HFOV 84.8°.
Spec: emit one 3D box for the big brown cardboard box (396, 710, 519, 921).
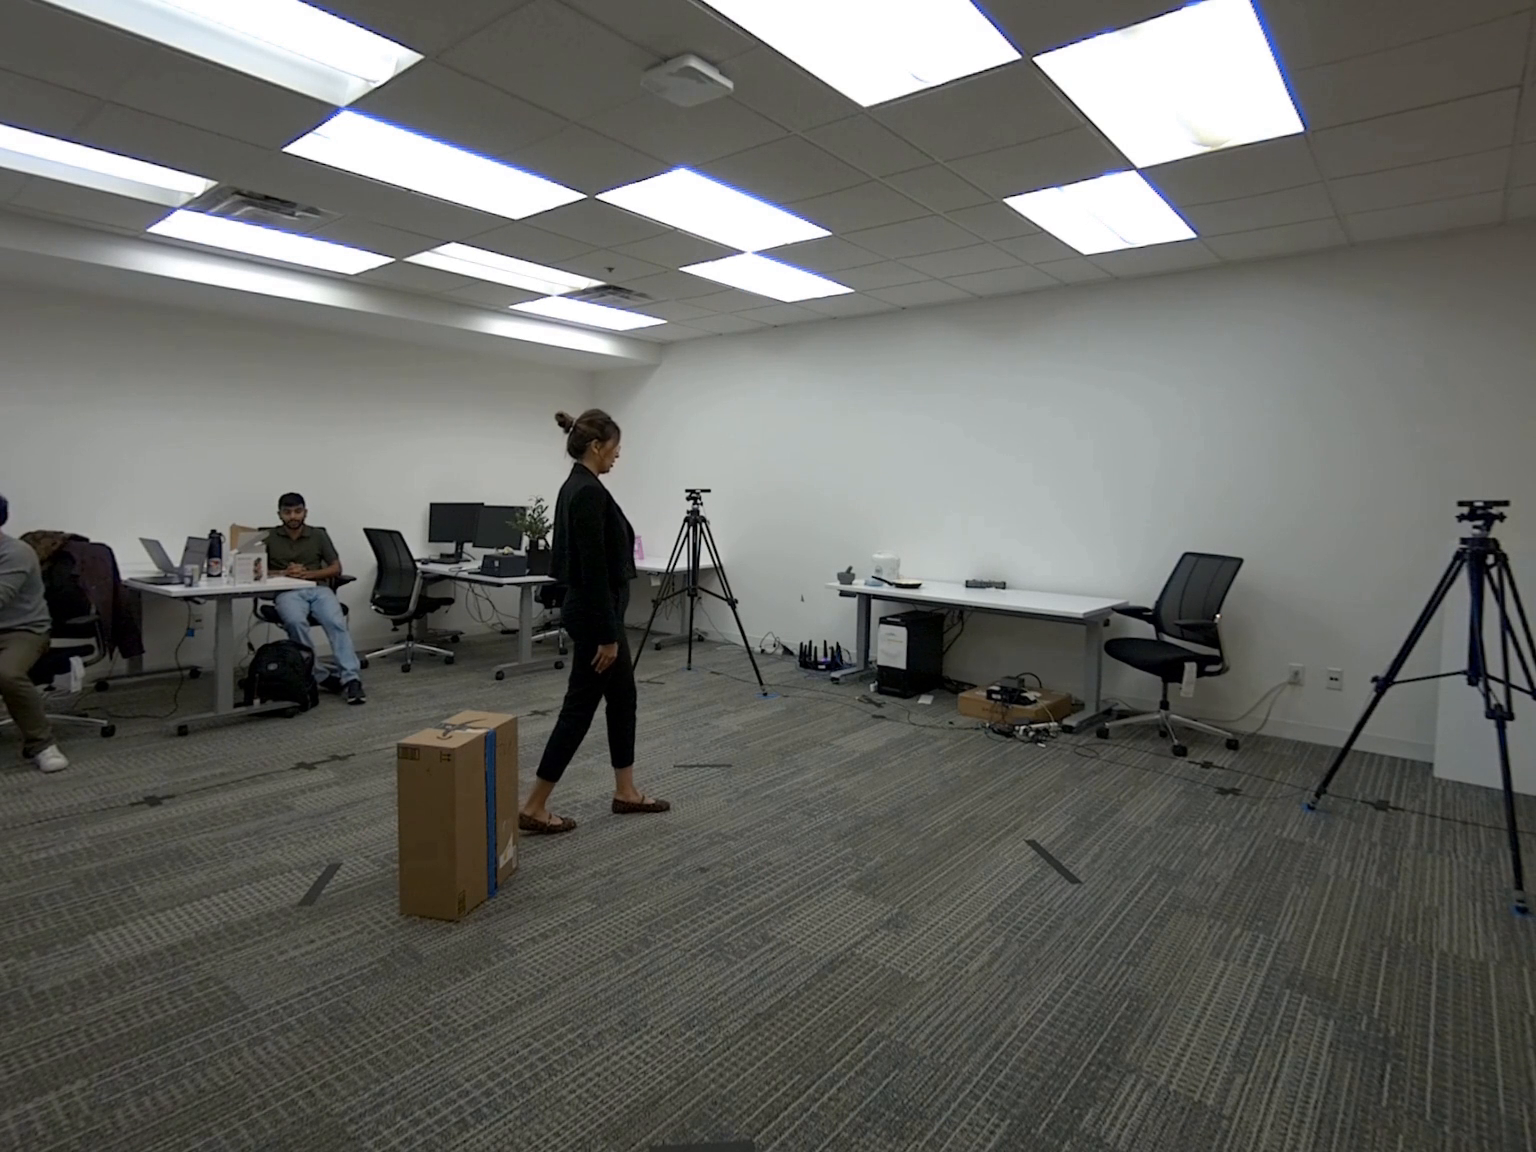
[{"bbox_3d":[-1.062,0.801,2.905,0.236,0.587,0.413,1,5,12],"label":"big brown cardboard box"}]
